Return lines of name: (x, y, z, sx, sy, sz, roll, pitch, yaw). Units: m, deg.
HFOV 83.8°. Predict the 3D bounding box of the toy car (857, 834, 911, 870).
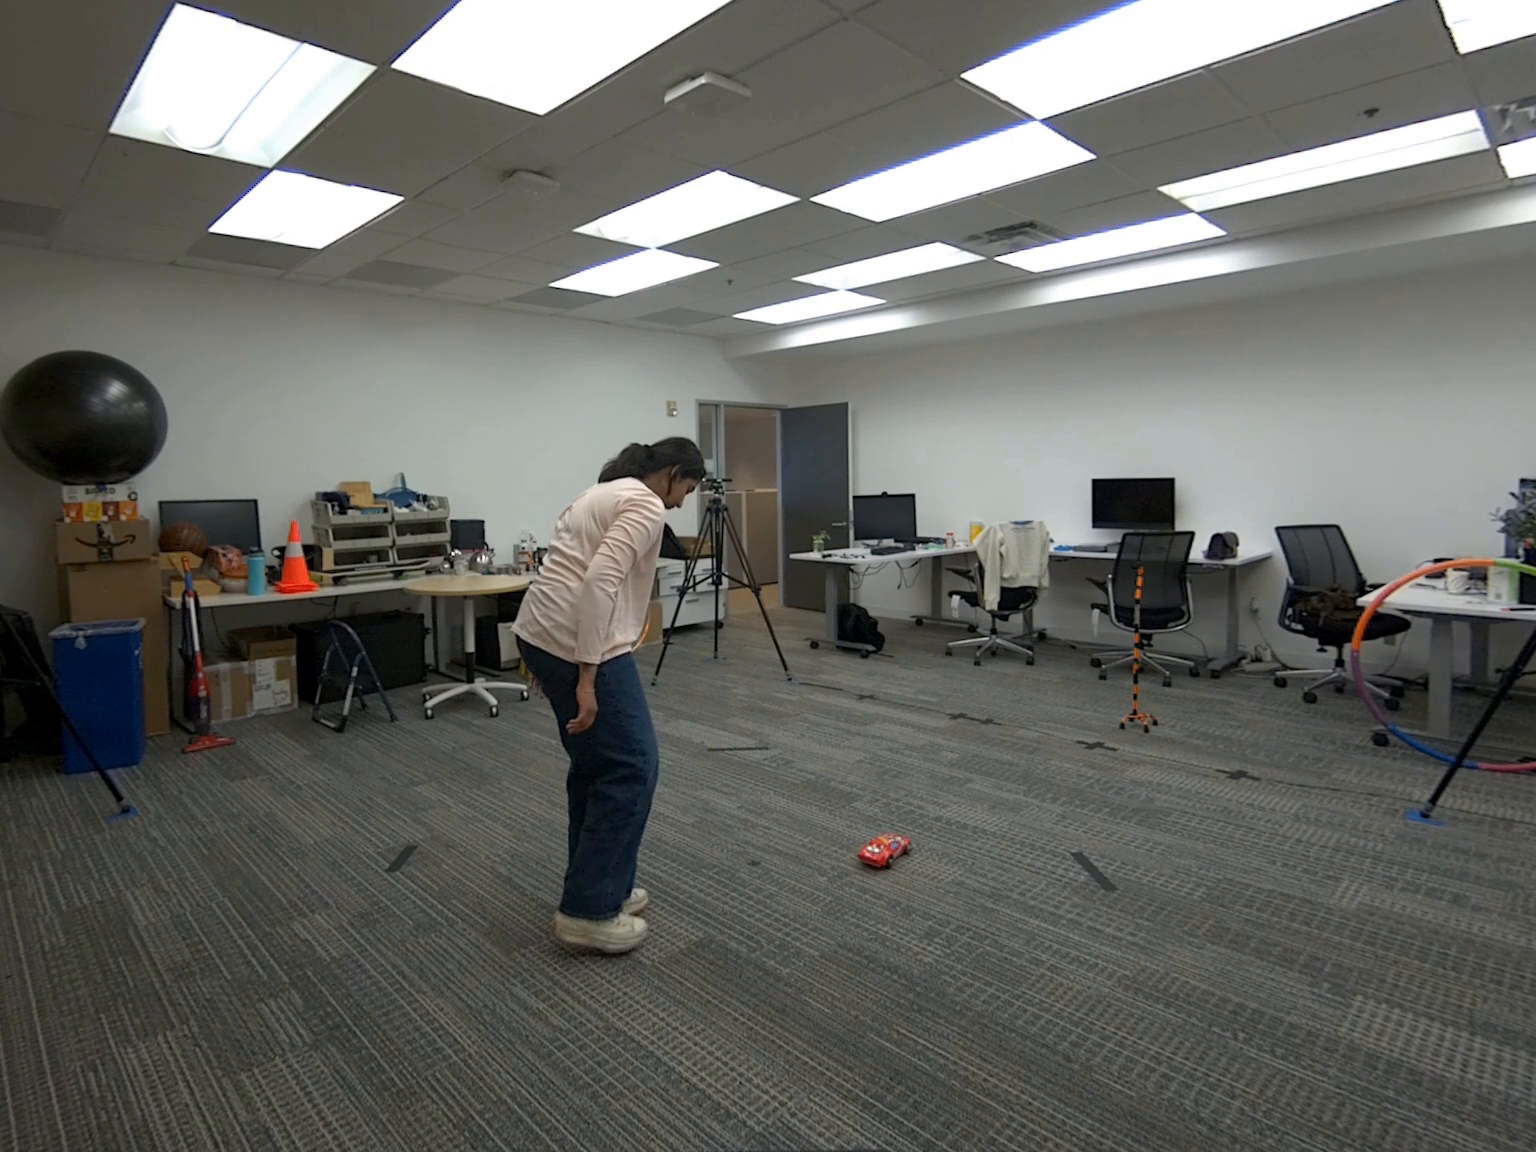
toy car: (0.425, 1.002, 3.117, 0.134, 0.083, 0.246, 3, -4, 38)
